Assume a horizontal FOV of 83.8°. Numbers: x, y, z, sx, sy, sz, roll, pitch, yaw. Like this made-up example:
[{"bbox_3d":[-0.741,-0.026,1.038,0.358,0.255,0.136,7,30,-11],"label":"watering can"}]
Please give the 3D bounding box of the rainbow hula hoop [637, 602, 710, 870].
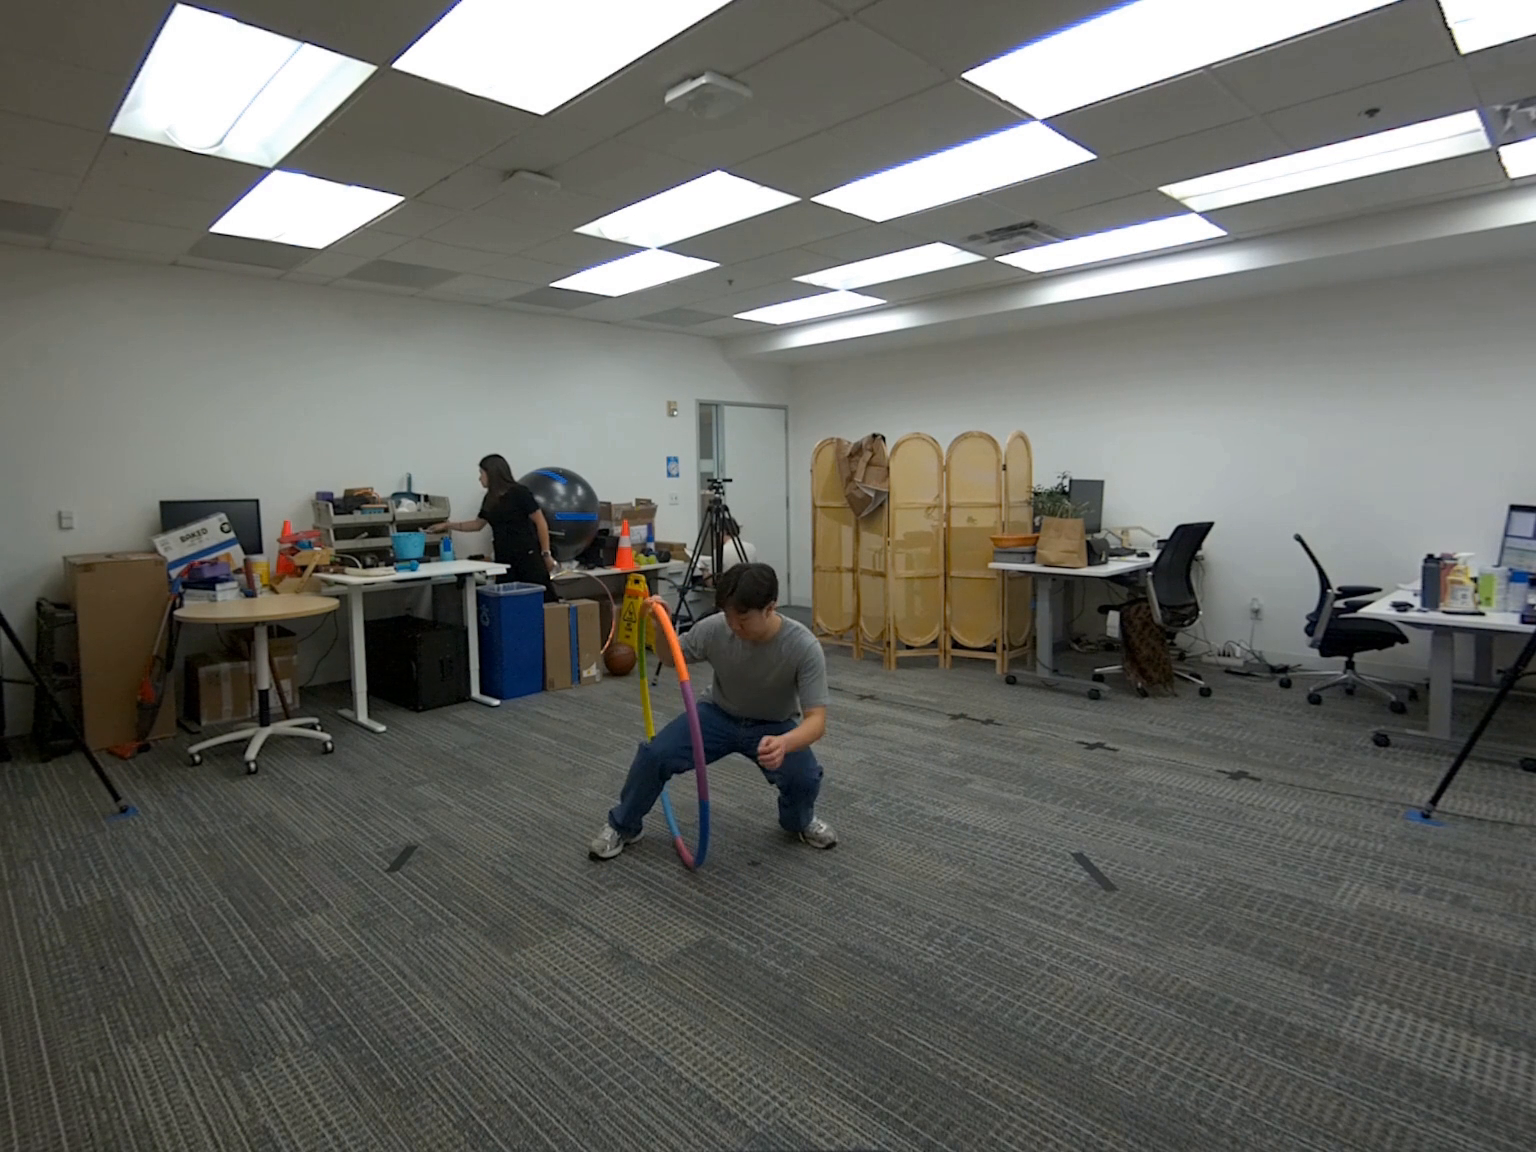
[{"bbox_3d":[-0.367,0.558,3.146,0.035,0.973,0.997,-7,6,-17],"label":"rainbow hula hoop"}]
